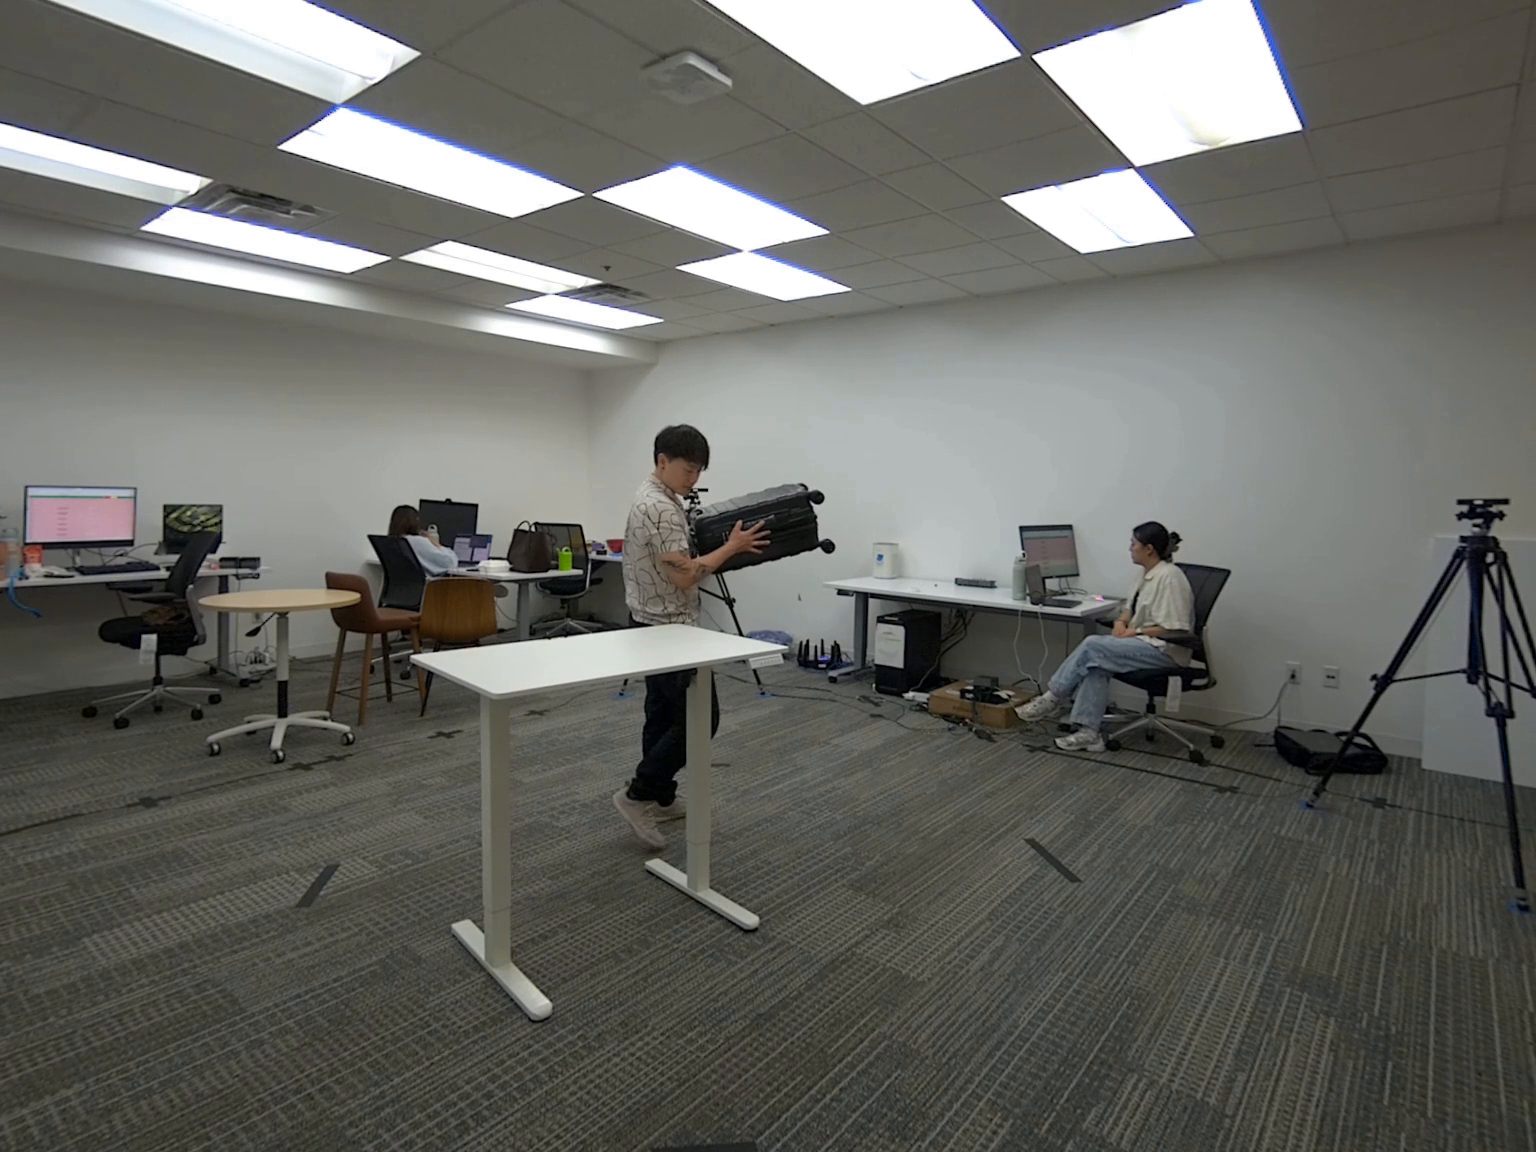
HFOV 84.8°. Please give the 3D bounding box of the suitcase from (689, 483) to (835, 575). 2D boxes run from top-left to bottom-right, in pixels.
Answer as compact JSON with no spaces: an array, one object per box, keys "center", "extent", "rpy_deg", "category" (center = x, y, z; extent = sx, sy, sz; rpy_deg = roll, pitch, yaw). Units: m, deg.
[{"center":[-0.056,-0.213,3.601],"extent":[0.547,0.244,0.383],"rpy_deg":[-14,15,-6],"category":"suitcase"}]
